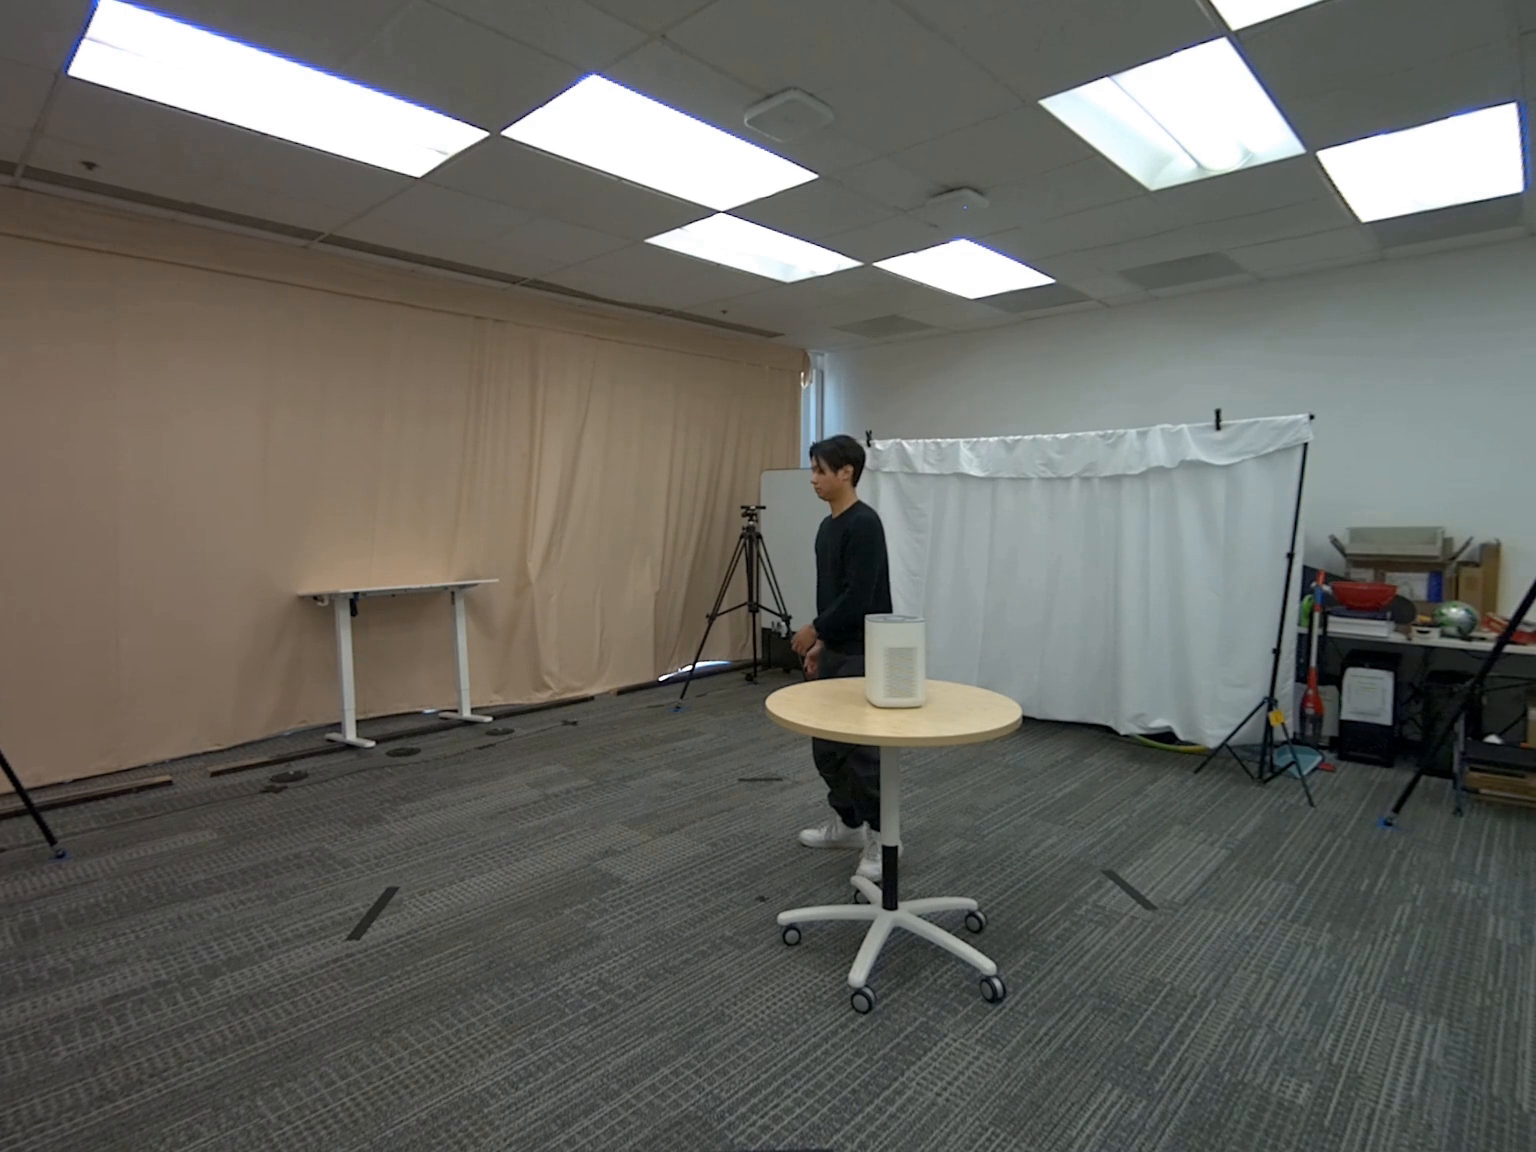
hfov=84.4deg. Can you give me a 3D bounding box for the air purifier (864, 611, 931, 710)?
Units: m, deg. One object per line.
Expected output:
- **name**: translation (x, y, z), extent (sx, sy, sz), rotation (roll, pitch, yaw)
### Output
- **air purifier**: translation (0.388, 0.252, 2.575), extent (0.172, 0.265, 0.171), rotation (-1, 4, 1)
